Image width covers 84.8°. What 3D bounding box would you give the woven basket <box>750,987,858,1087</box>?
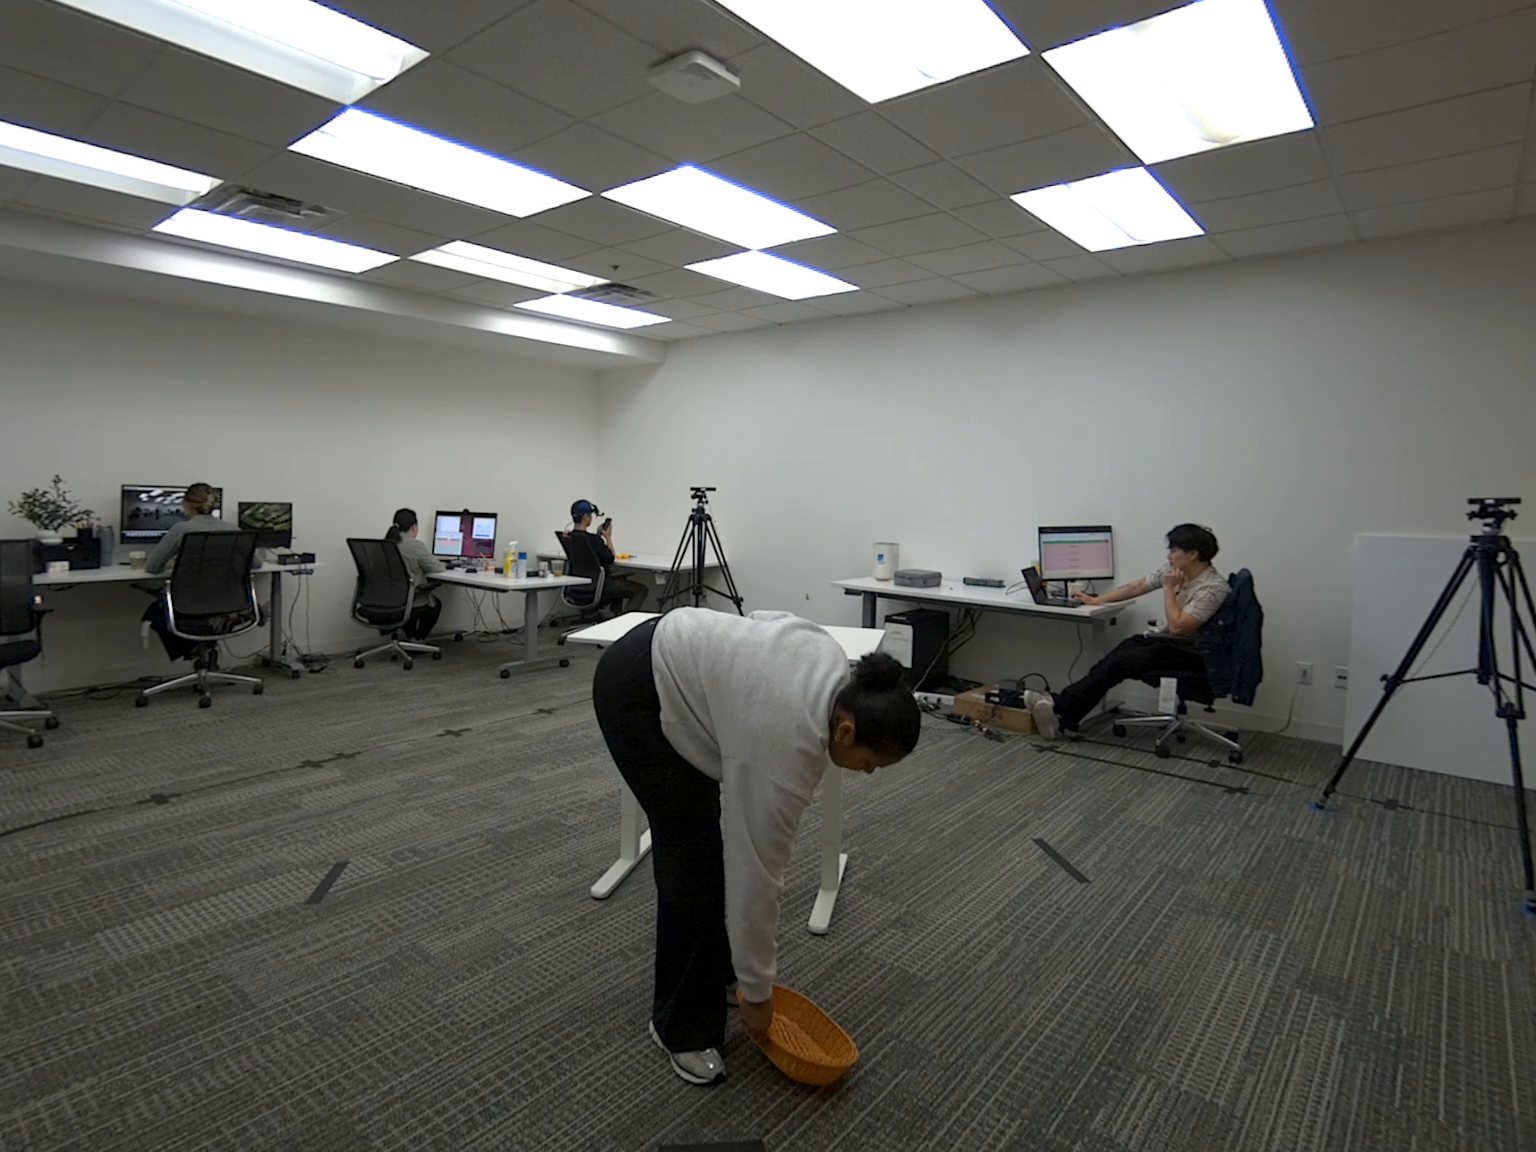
[{"bbox_3d":[0.057,1.088,2.054,0.244,0.073,0.362,16,0,-30],"label":"woven basket"}]
